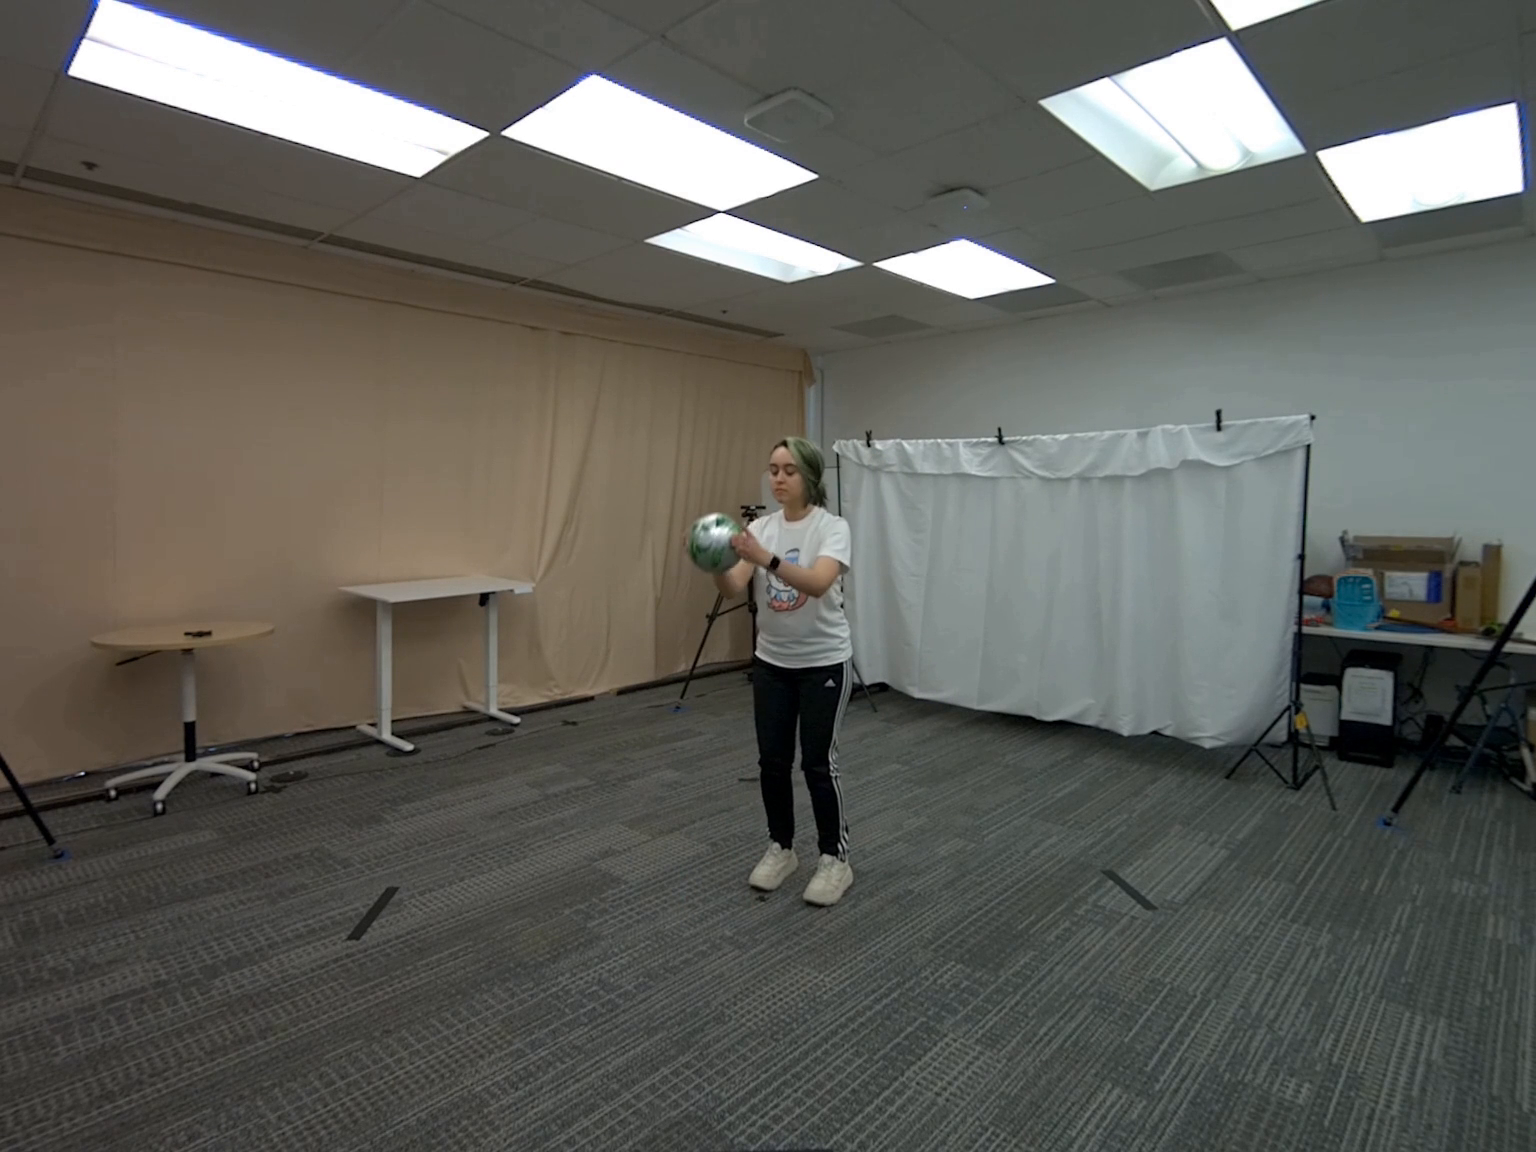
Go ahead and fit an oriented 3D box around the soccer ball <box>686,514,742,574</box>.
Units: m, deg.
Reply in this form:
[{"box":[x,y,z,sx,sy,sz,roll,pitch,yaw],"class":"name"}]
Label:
[{"box":[-0.155,-0.074,2.653,0.187,0.187,0.188,0,4,-2],"class":"soccer ball"}]
